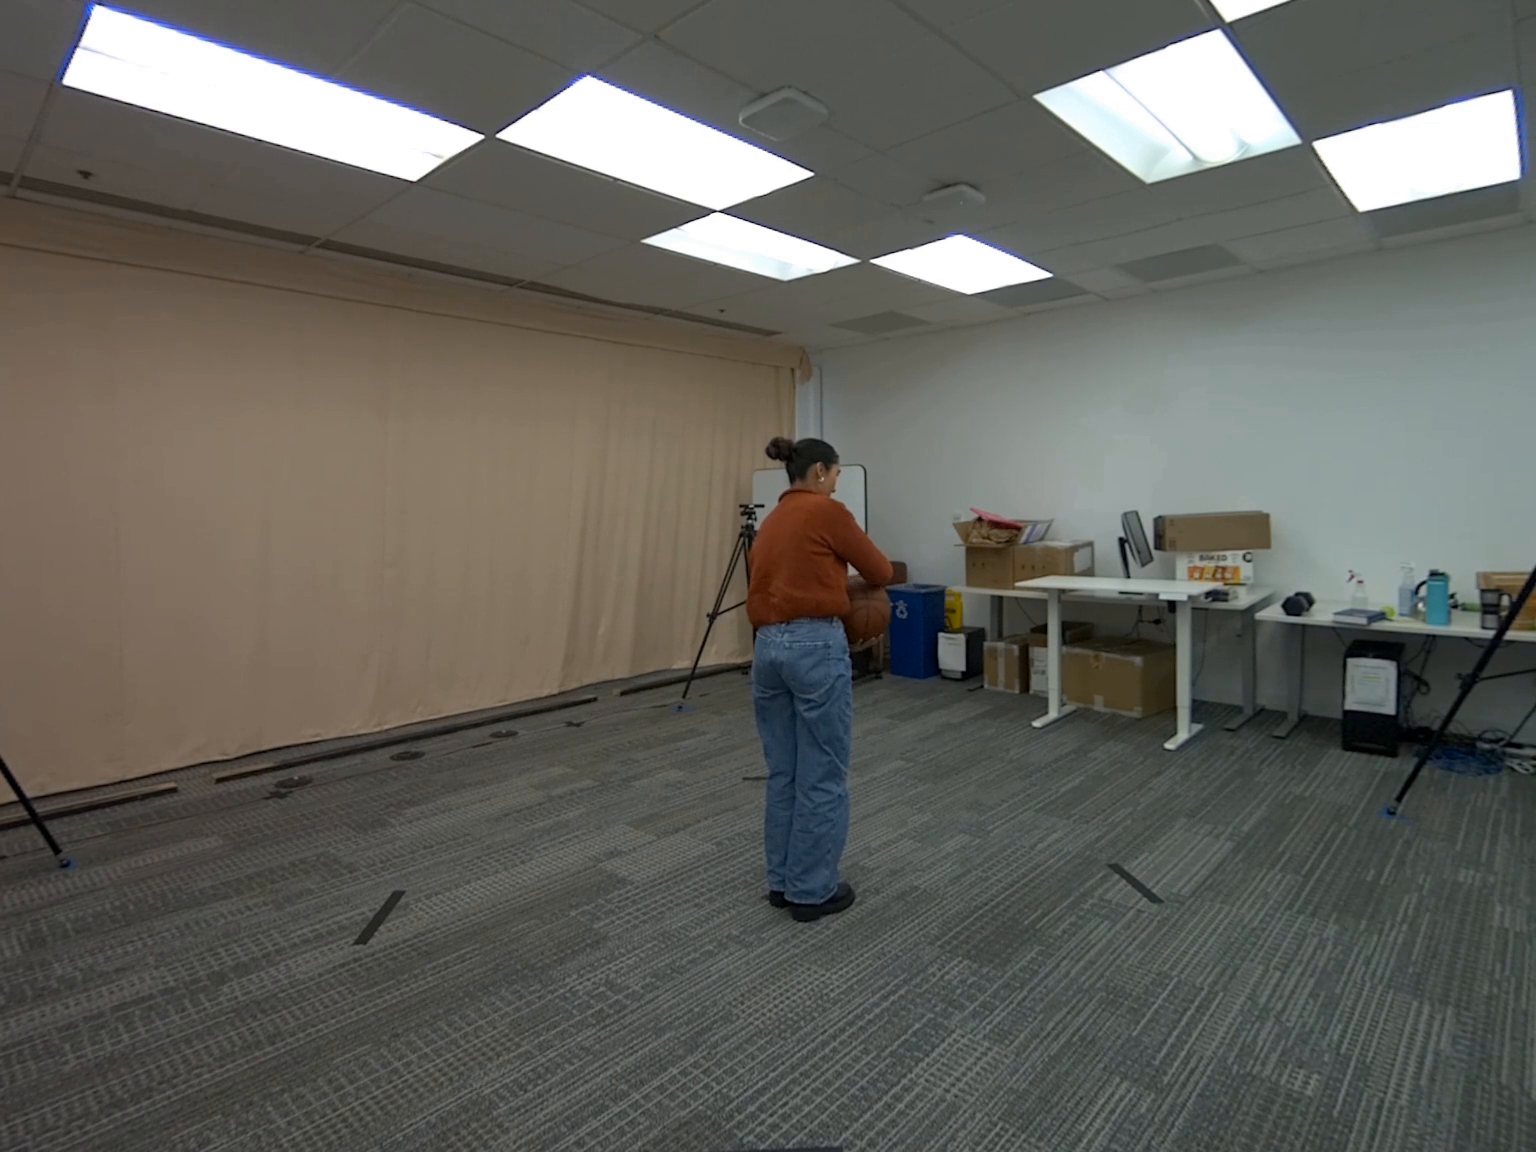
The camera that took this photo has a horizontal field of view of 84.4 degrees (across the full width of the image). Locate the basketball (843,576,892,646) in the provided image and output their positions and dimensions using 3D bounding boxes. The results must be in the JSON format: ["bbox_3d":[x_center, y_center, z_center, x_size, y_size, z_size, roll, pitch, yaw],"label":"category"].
[{"bbox_3d":[0.322,0.130,3.023,0.236,0.235,0.237,-1,4,-2],"label":"basketball"}]
